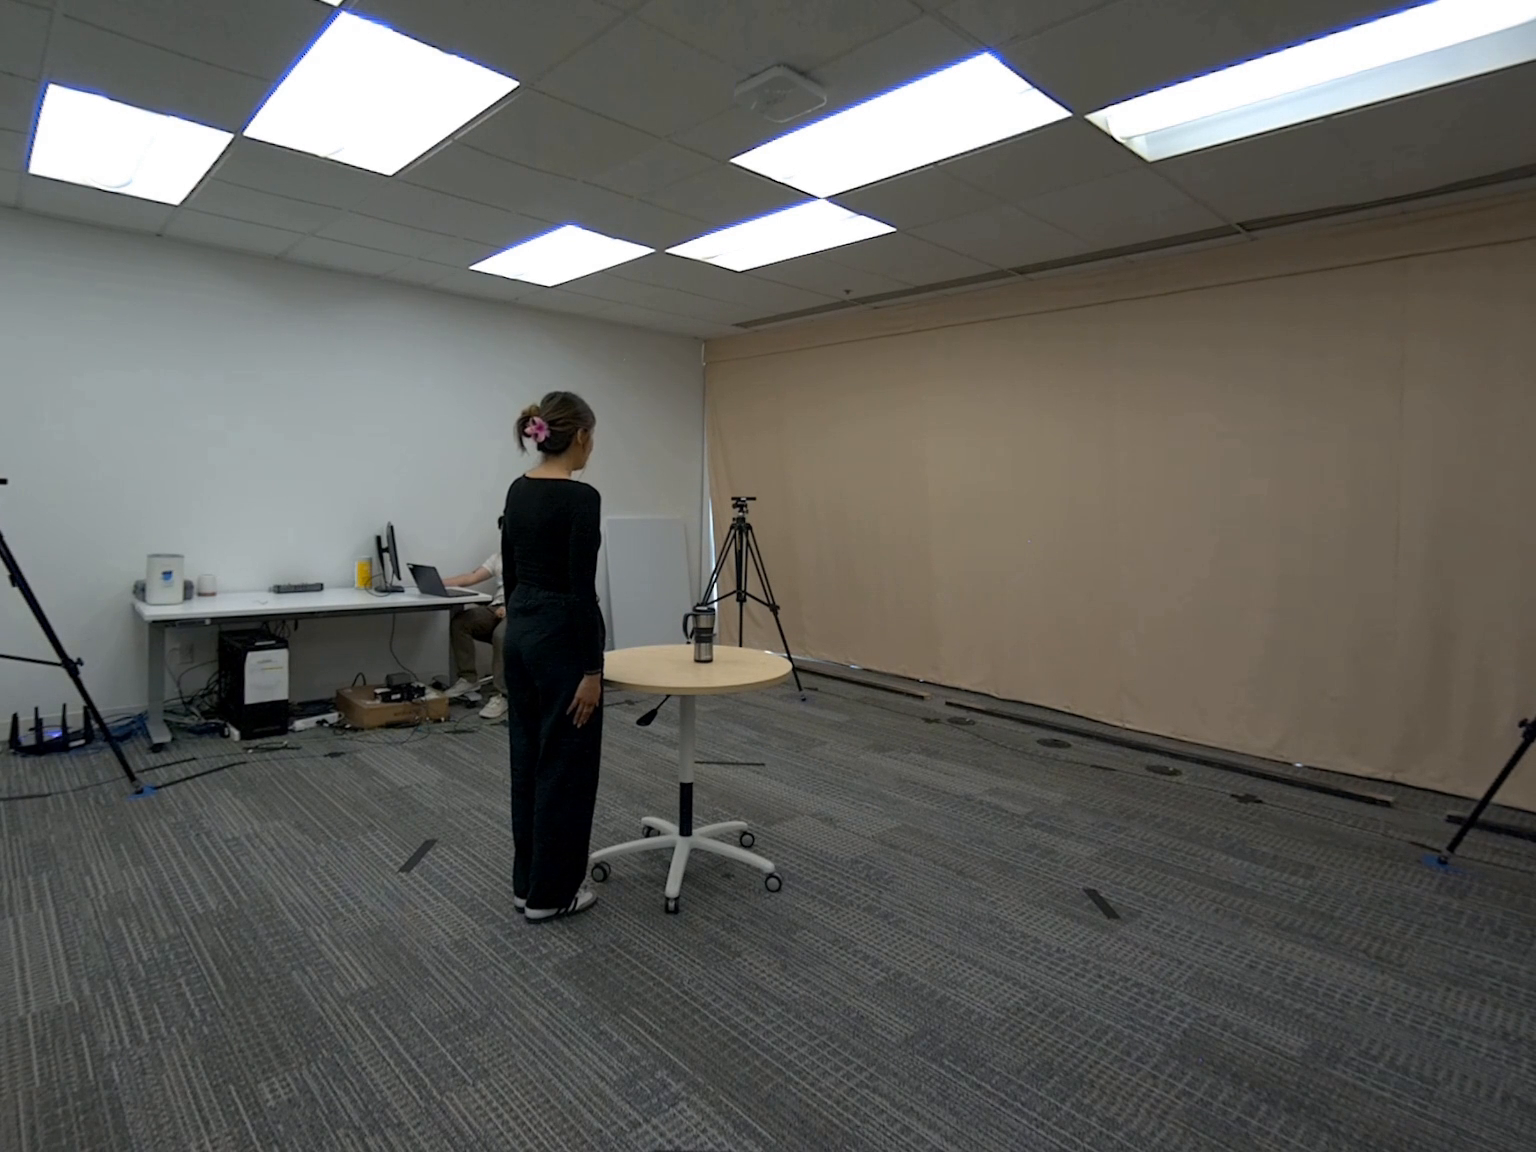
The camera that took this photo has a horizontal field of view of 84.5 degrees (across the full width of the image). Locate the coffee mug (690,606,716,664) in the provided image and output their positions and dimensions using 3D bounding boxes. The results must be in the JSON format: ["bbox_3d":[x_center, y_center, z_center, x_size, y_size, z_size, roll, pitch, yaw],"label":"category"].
[{"bbox_3d":[-0.265,0.219,3.129,0.123,0.202,0.087,3,8,15],"label":"coffee mug"}]
